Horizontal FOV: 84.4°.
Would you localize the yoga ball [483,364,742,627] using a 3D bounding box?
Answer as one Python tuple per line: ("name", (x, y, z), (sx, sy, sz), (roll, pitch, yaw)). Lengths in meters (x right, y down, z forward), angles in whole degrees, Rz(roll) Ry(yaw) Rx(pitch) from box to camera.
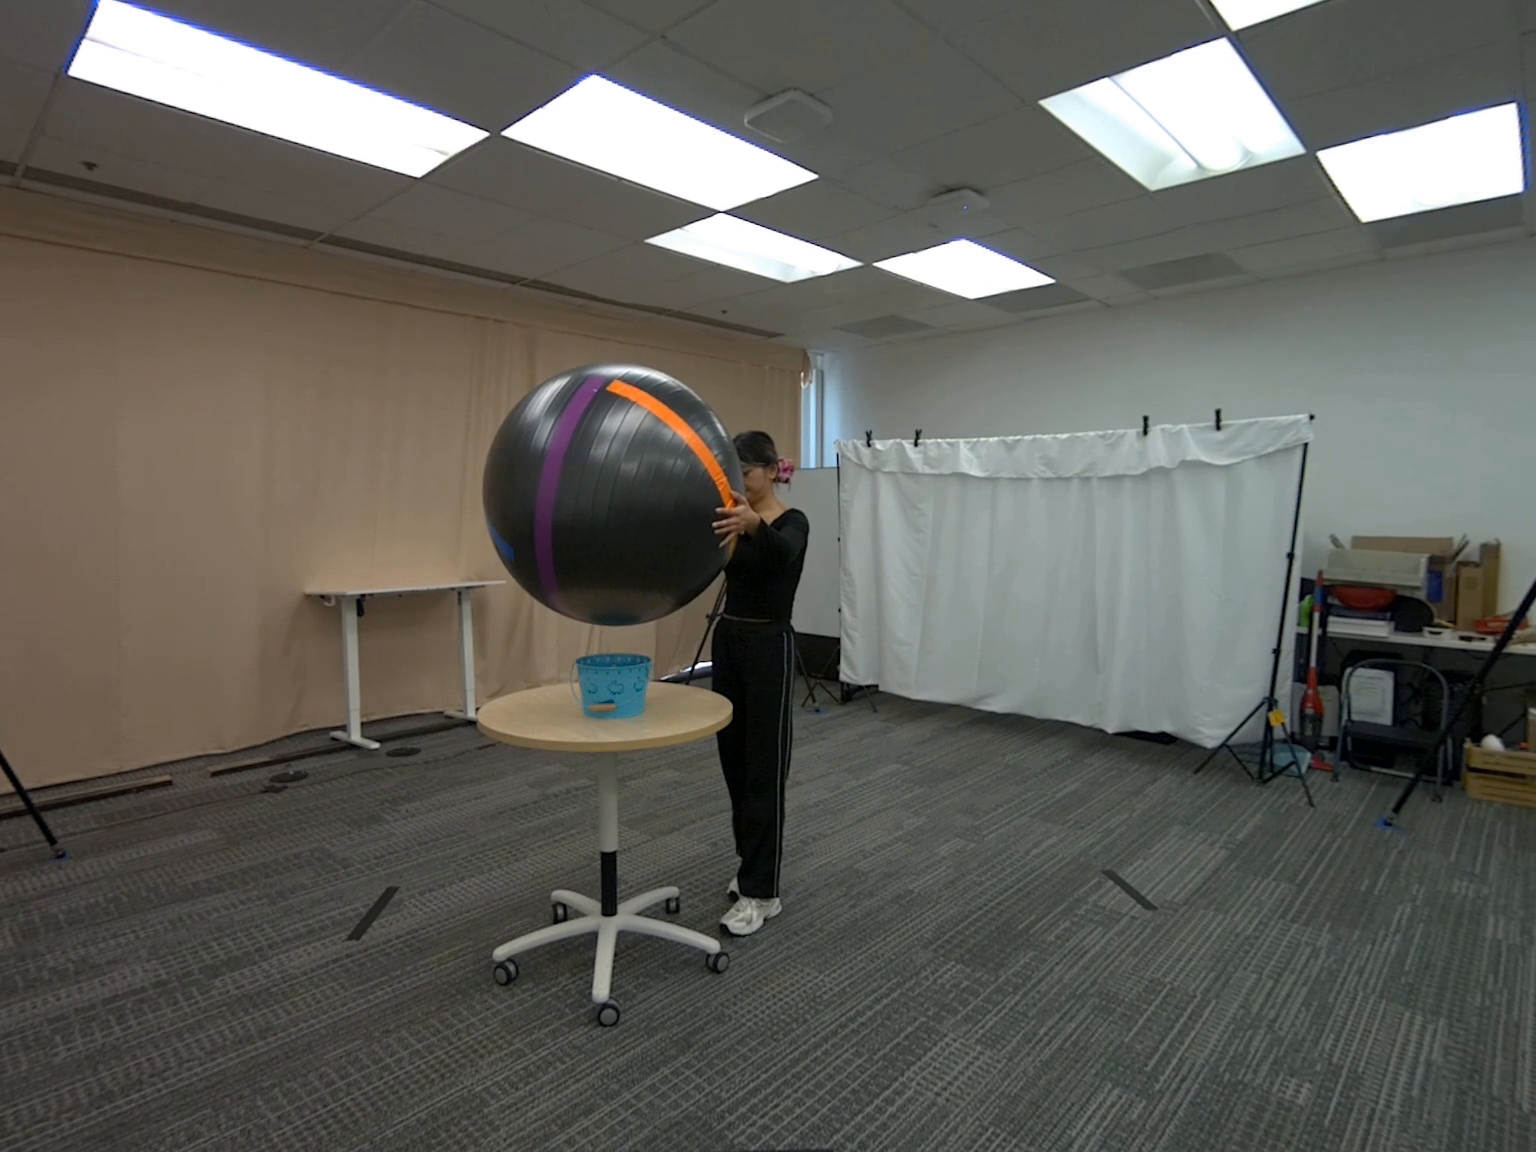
("yoga ball", (-0.454, -0.229, 2.452), (0.757, 0.756, 0.760), (0, 4, -2))
